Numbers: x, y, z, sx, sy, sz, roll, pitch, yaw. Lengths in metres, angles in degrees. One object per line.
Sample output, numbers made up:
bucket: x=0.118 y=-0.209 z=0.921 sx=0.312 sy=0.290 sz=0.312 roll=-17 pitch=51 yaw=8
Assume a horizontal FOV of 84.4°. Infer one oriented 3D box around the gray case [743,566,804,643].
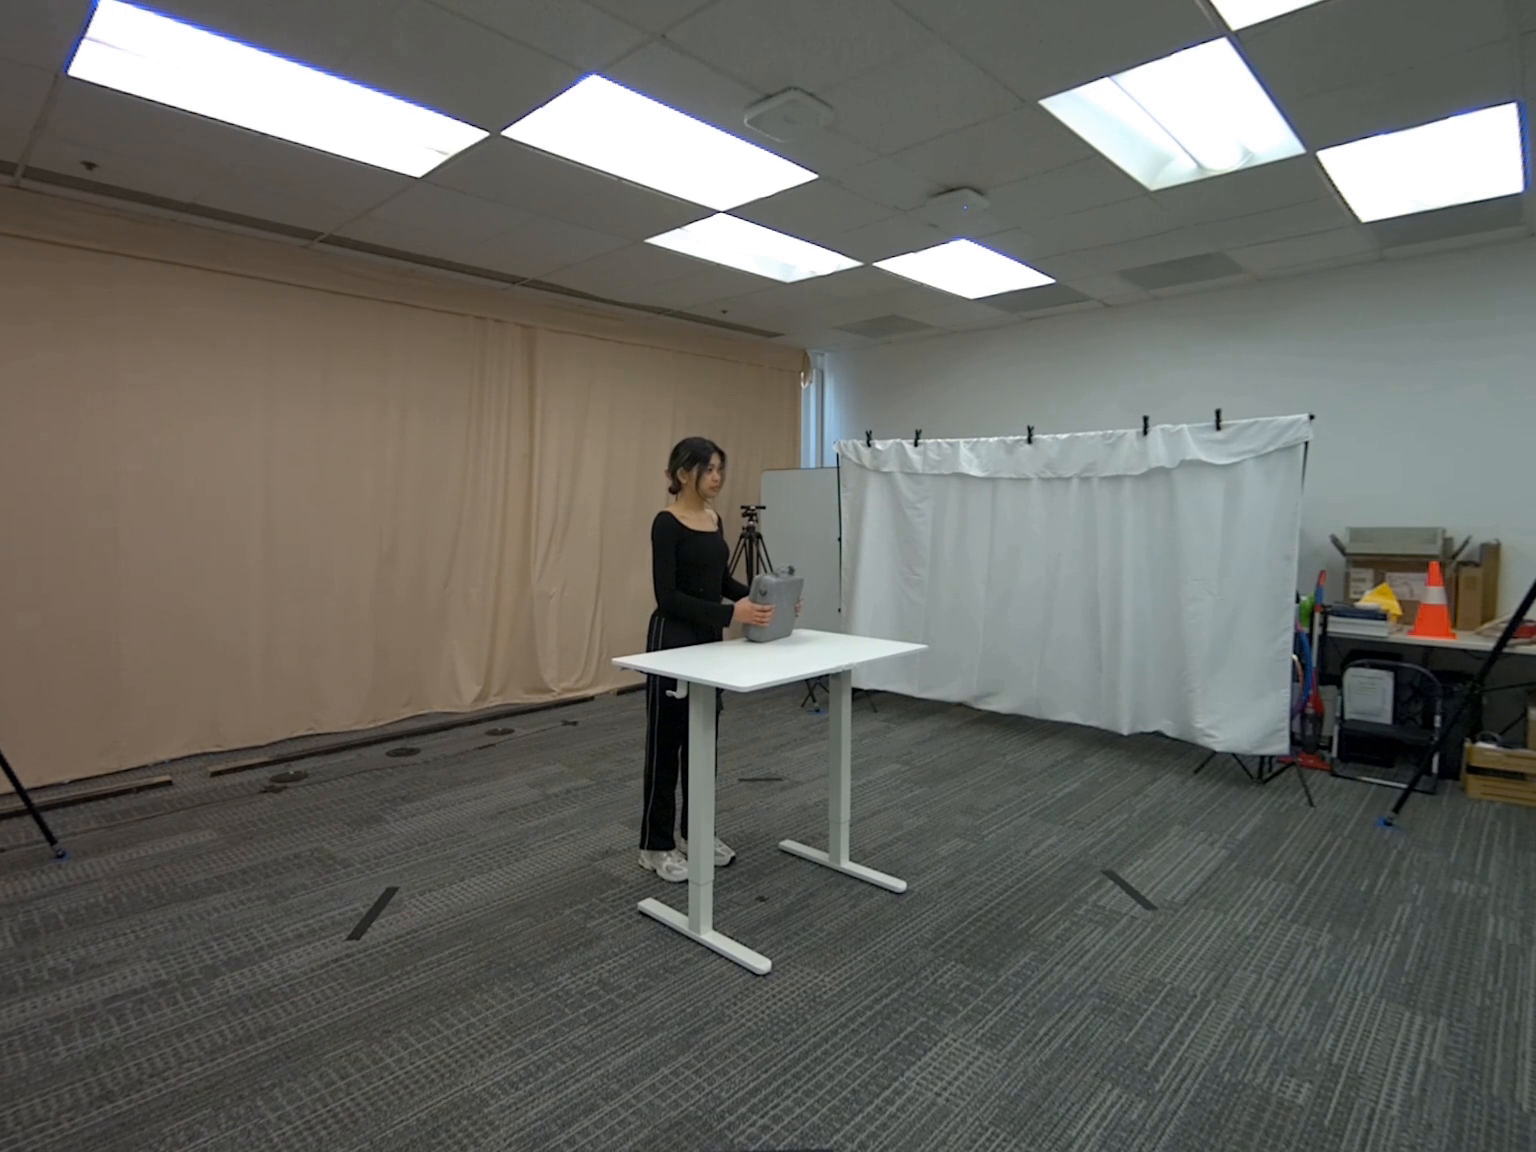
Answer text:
gray case: x=0.024 y=0.113 z=3.200 sx=0.108 sy=0.259 sz=0.250 roll=18 pitch=12 yaw=30
